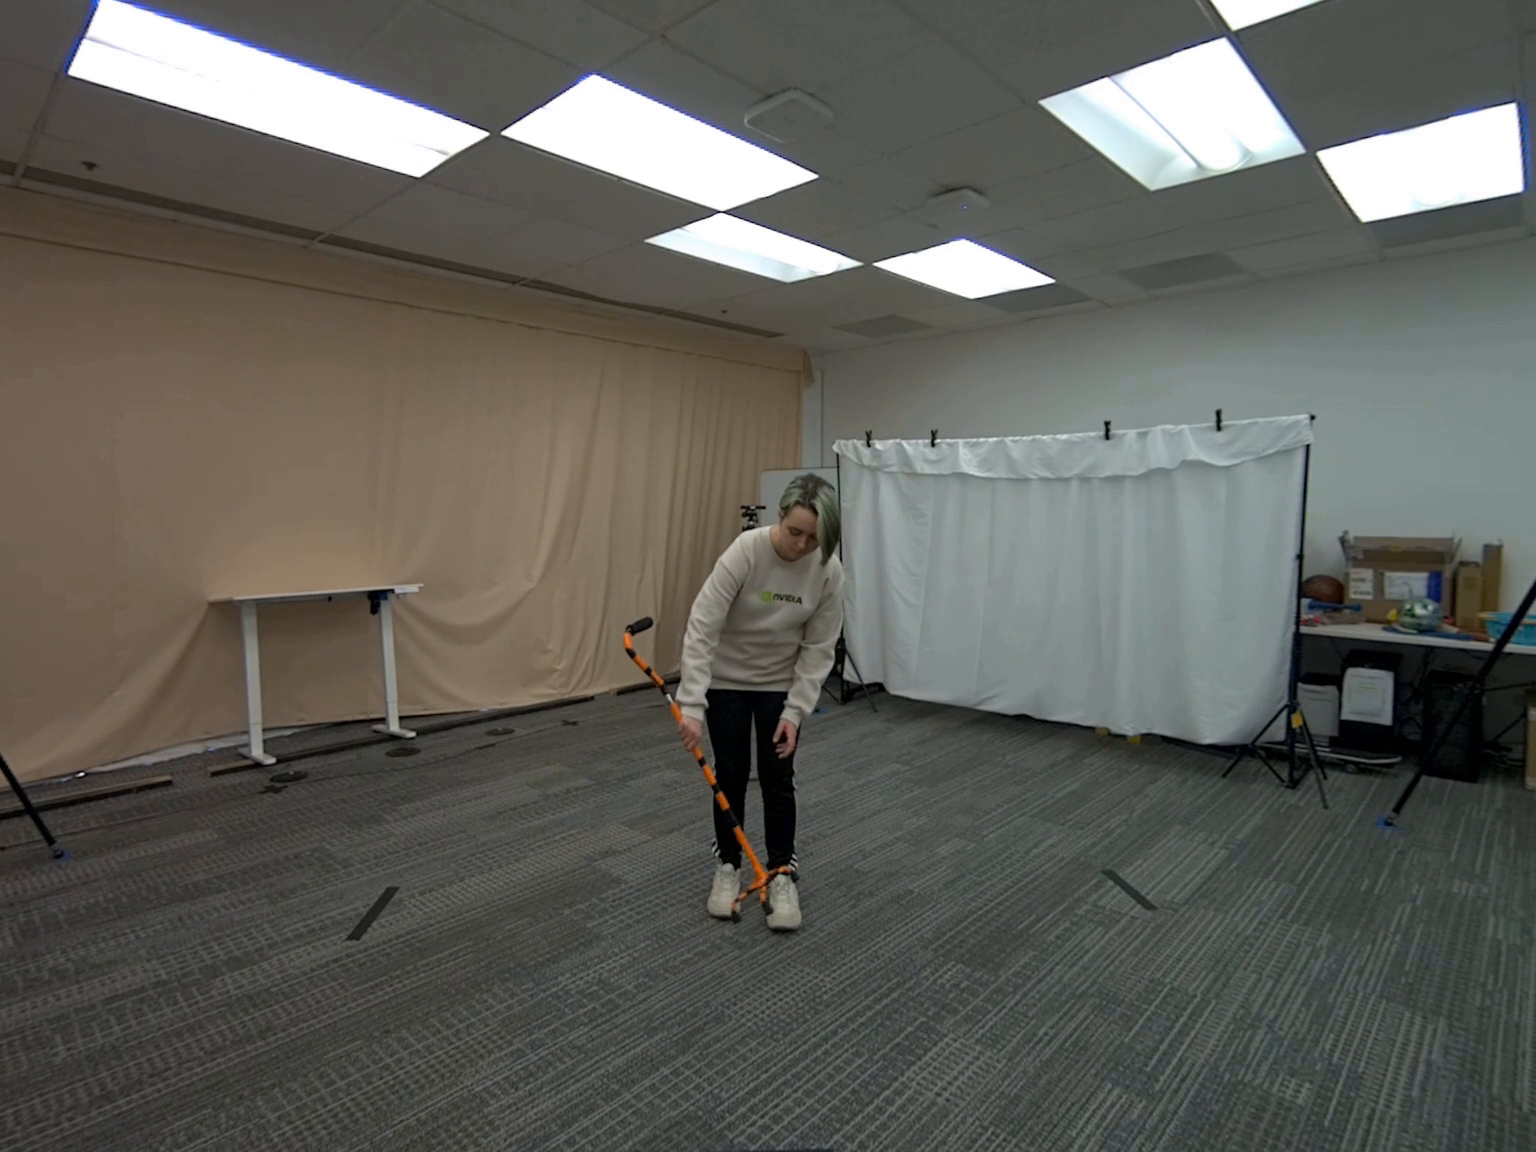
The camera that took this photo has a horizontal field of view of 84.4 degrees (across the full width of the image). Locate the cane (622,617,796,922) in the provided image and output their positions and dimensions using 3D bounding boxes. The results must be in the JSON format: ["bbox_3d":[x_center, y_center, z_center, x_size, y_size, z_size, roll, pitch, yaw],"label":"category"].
[{"bbox_3d":[-0.199,0.560,2.518,0.154,0.912,0.202,-29,-5,32],"label":"cane"}]
